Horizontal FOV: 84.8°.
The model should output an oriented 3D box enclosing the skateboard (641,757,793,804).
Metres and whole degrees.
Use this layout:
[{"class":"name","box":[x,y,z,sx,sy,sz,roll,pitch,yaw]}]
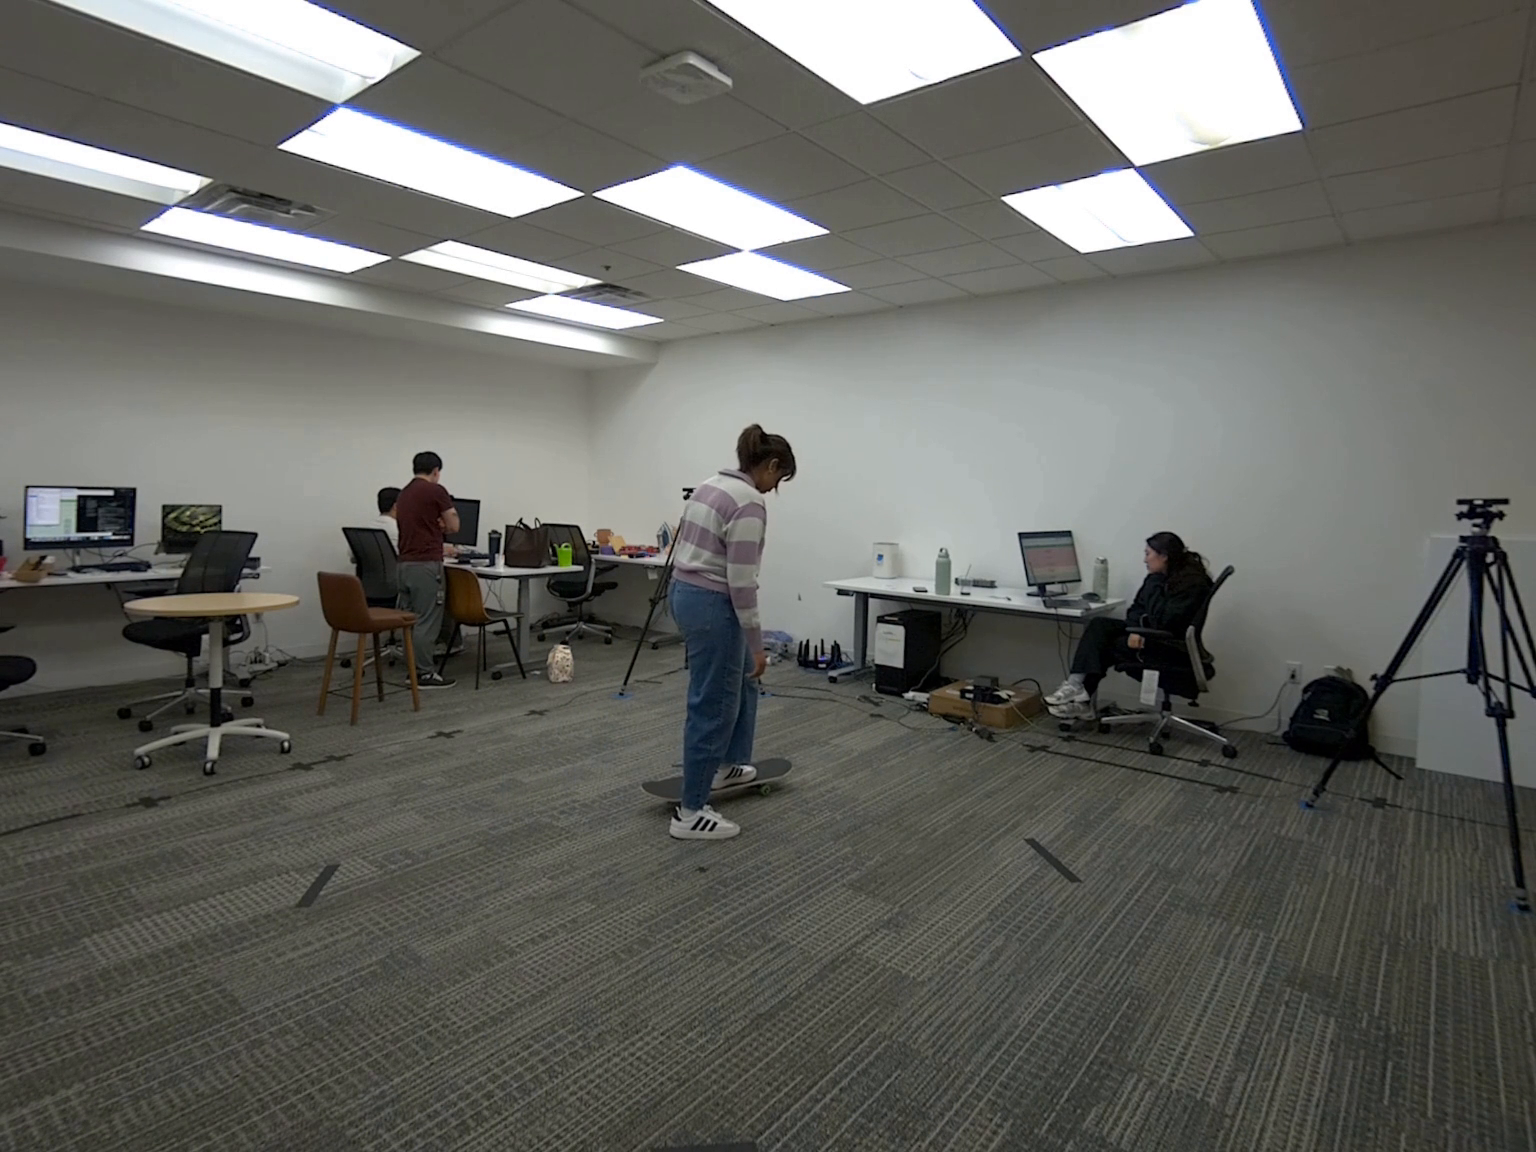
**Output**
[{"class":"skateboard","box":[-0.228,0.943,3.834,0.763,0.109,0.200,-3,10,-34]}]
